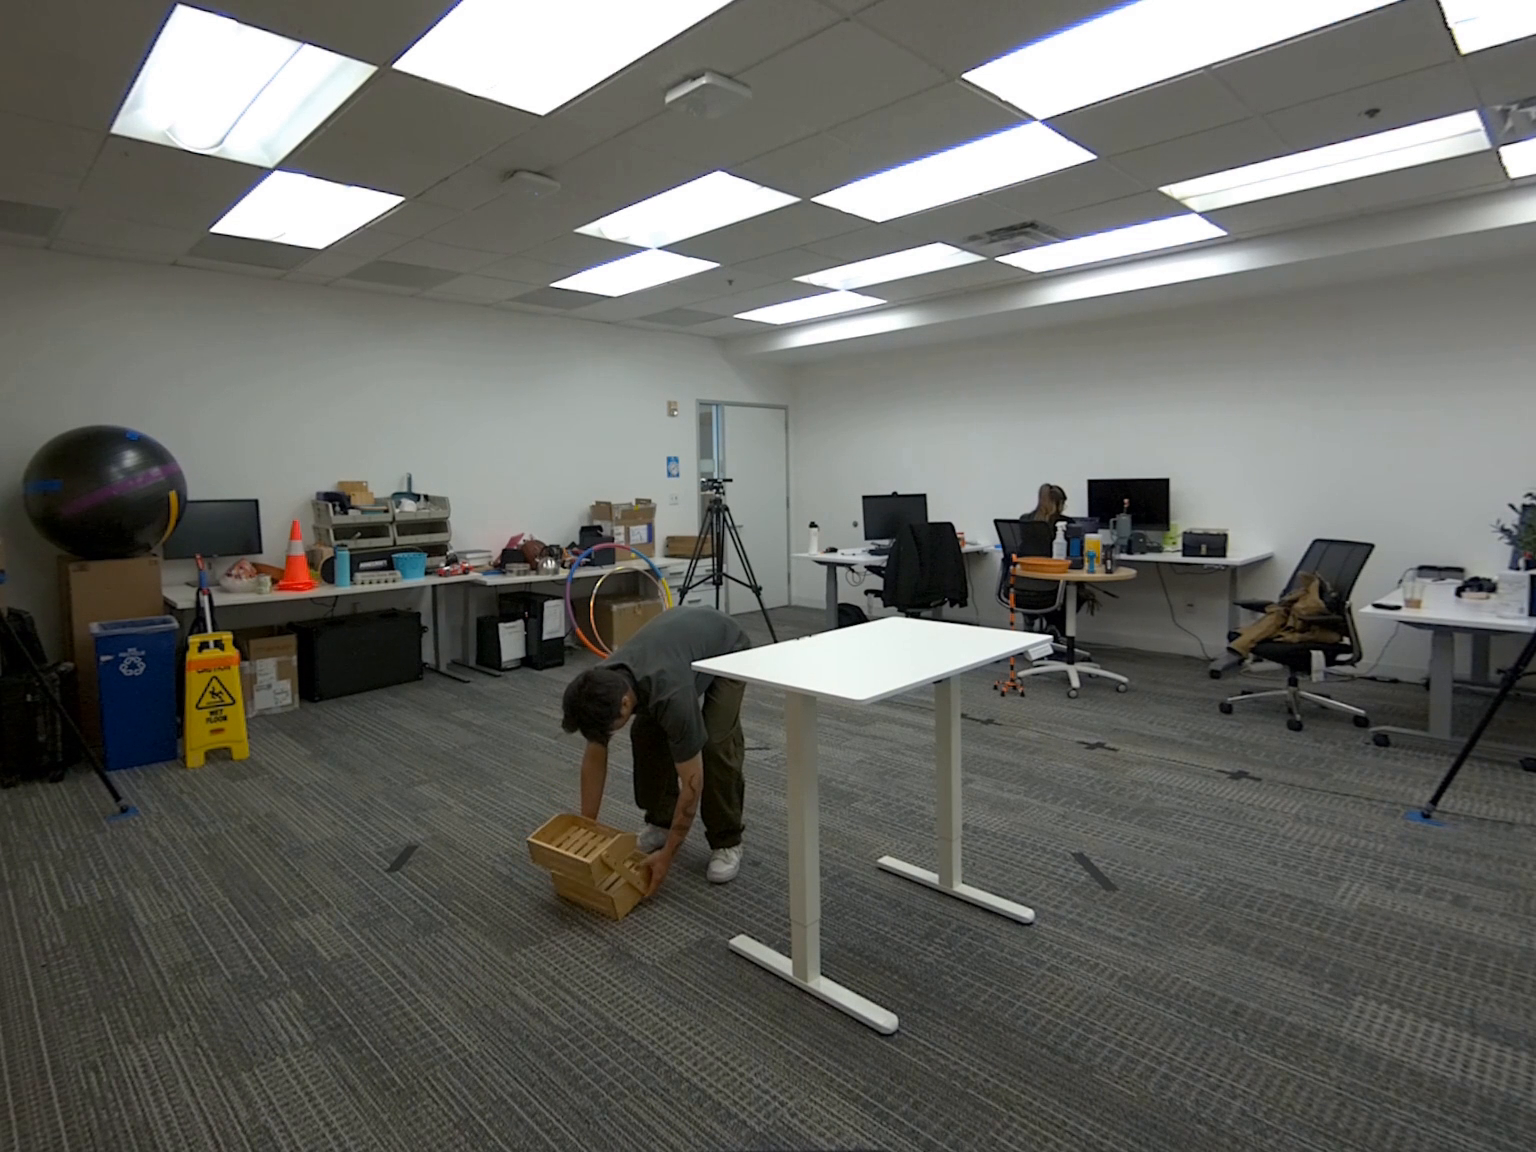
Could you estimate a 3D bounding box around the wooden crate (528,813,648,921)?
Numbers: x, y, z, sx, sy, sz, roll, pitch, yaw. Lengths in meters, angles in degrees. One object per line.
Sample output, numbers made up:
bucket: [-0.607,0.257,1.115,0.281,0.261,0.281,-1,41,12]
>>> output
wooden crate: [-0.567,0.934,2.847,0.334,0.268,0.299,2,22,36]
